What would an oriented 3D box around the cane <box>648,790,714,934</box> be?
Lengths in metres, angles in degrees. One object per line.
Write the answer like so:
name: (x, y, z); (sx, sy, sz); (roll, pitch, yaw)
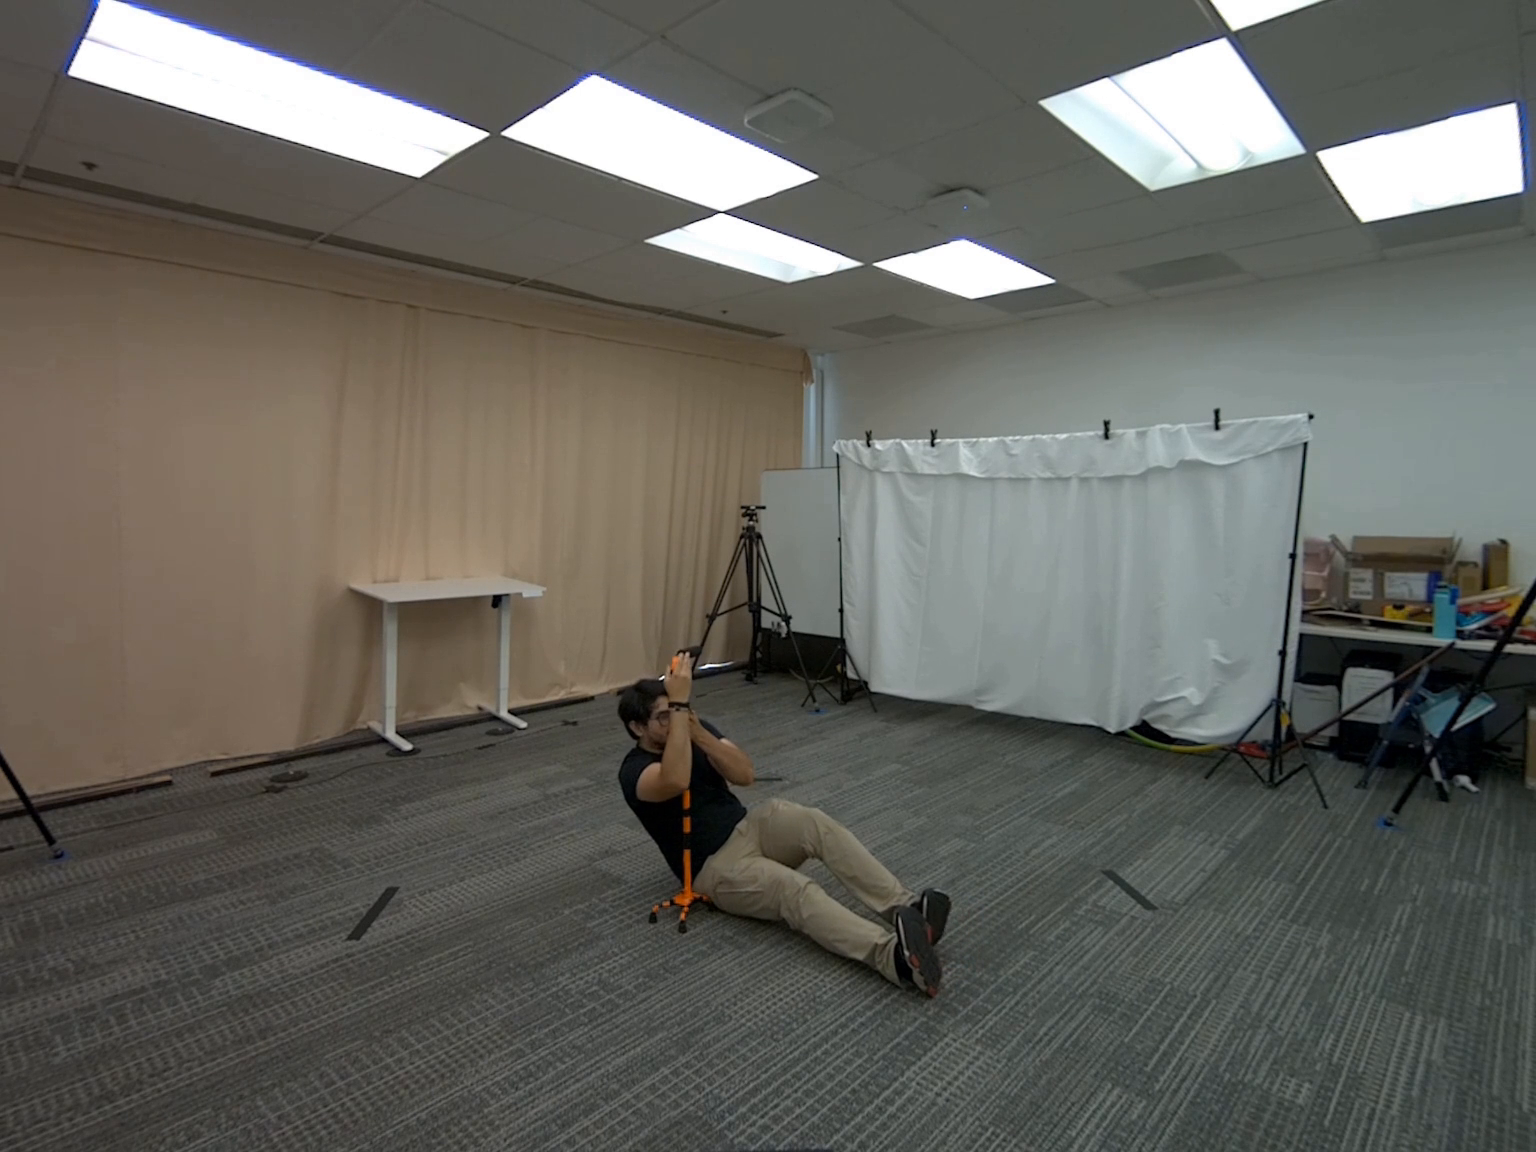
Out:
cane: (-0.294, 0.703, 2.848); (0.156, 0.906, 0.201); (0, 2, 30)
